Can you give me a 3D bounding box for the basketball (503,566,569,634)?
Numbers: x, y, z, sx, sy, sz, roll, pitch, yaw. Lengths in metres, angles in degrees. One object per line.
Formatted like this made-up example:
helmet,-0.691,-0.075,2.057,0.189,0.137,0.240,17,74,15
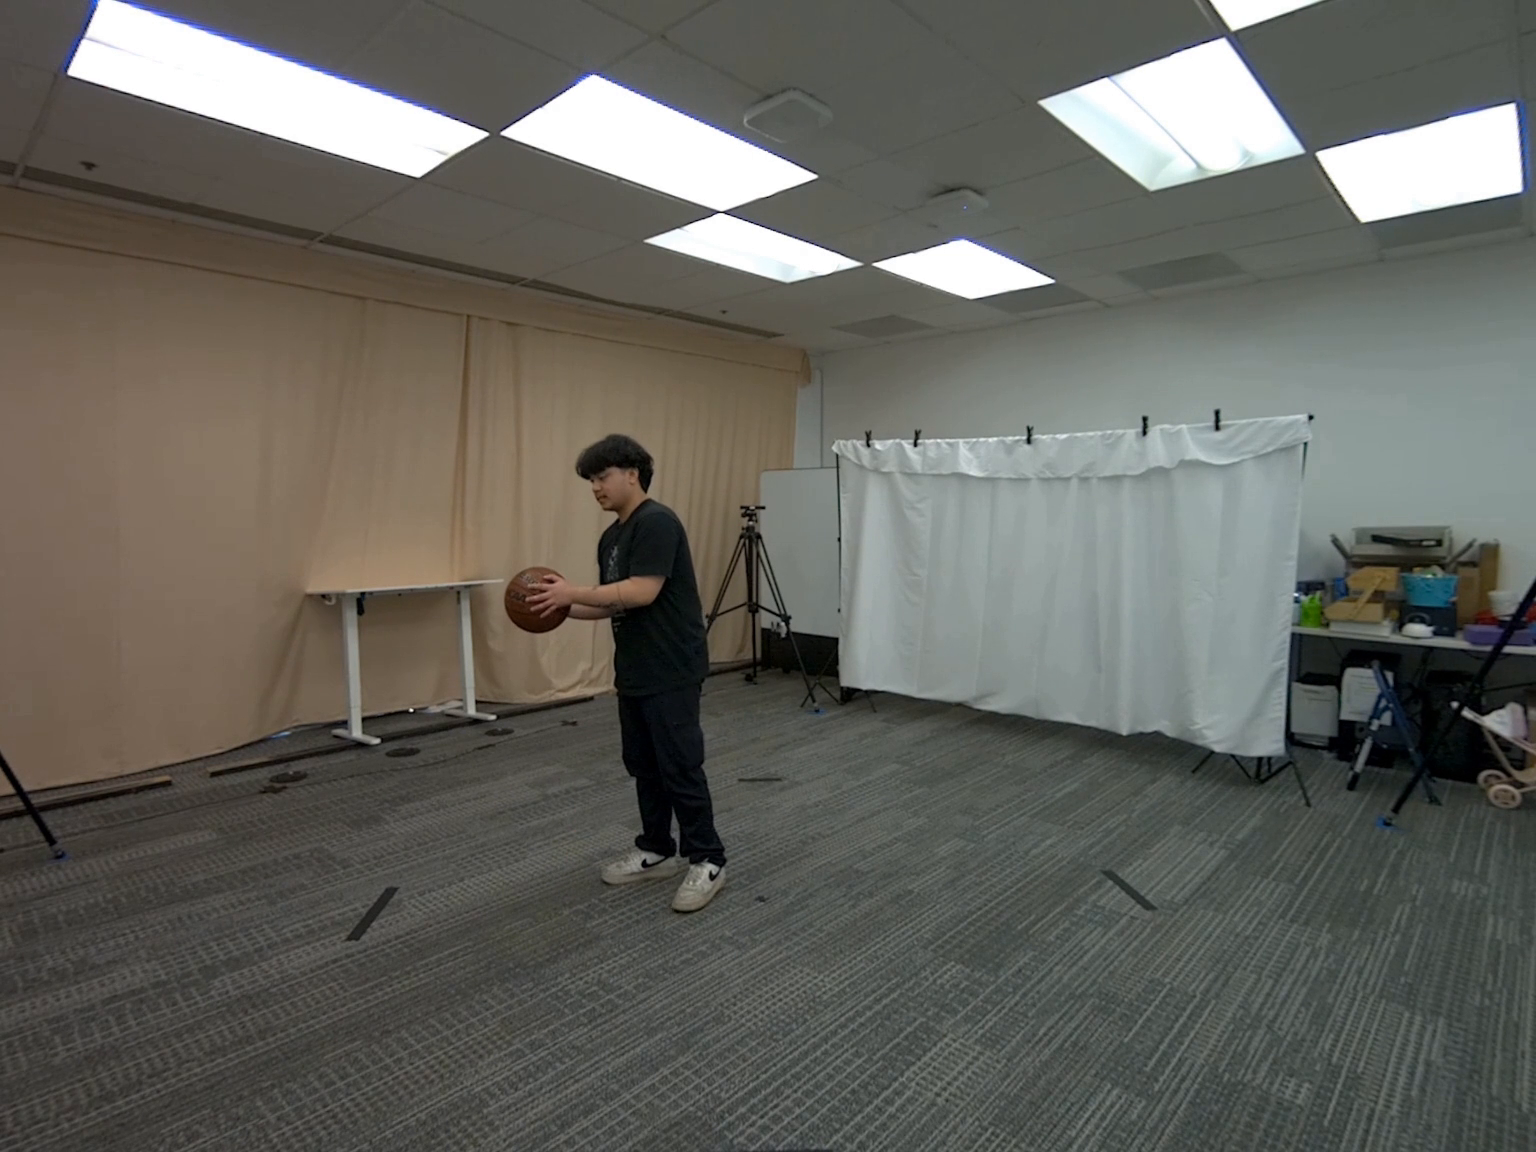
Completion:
basketball,-0.825,0.085,3.007,0.236,0.235,0.237,0,4,-2
